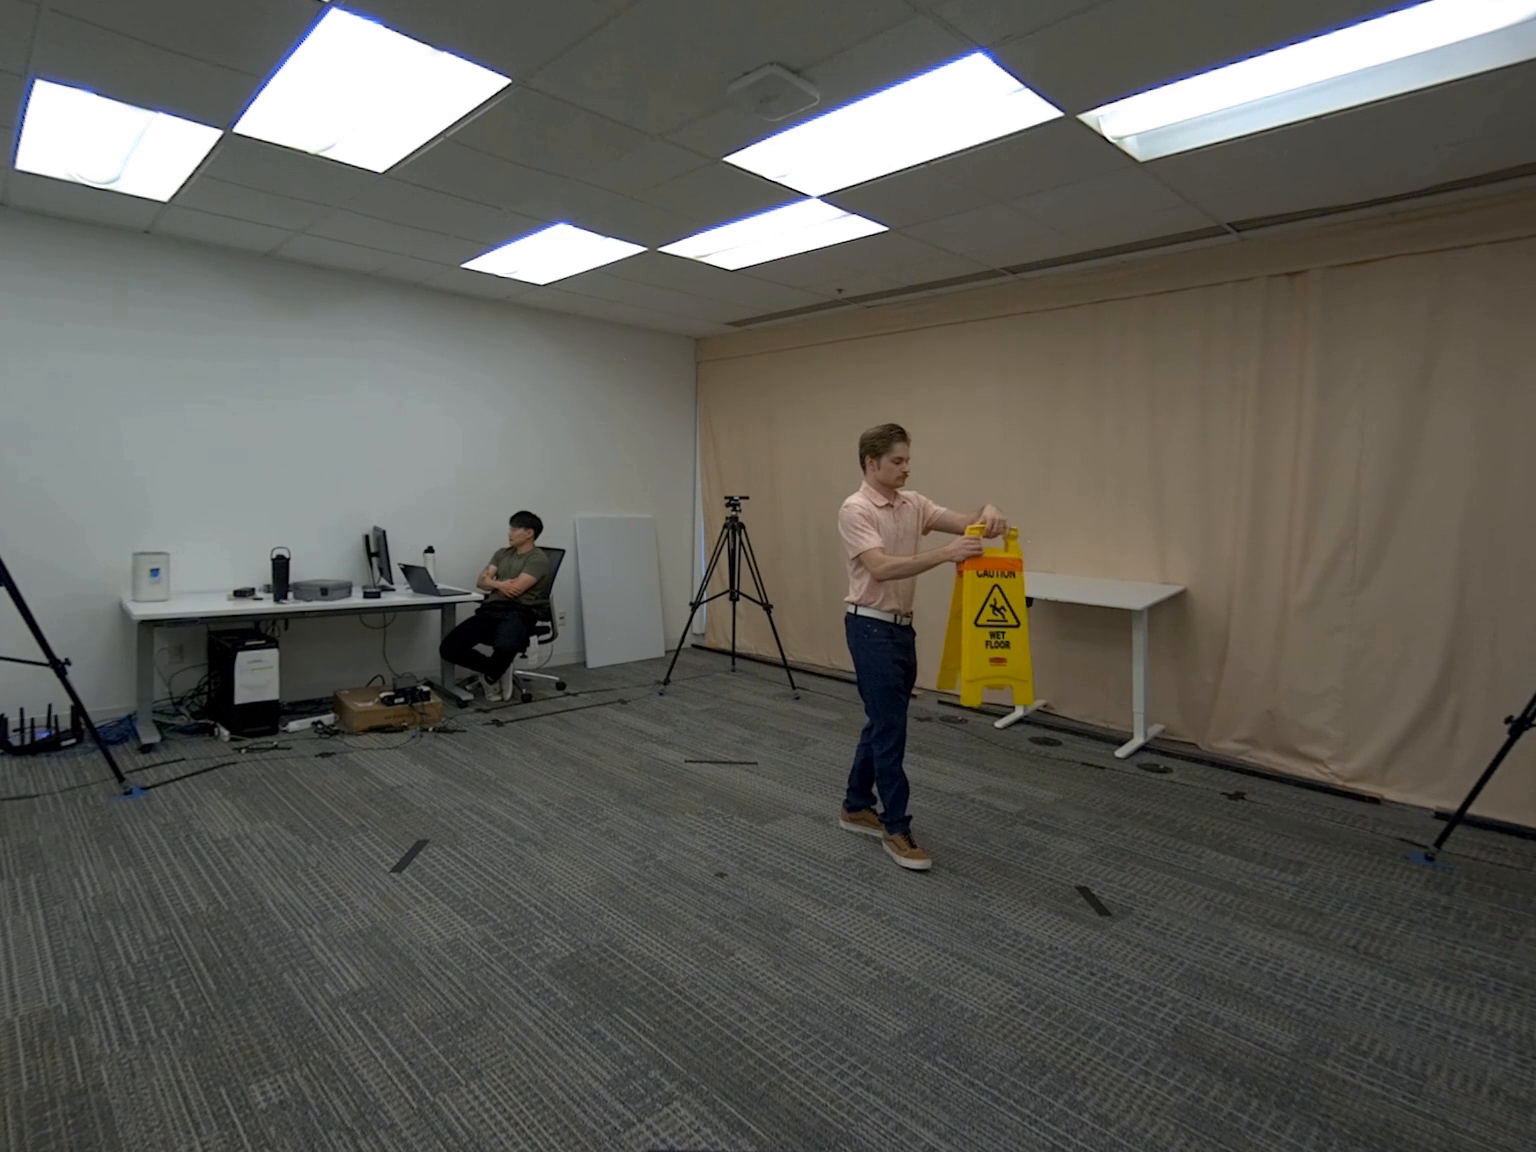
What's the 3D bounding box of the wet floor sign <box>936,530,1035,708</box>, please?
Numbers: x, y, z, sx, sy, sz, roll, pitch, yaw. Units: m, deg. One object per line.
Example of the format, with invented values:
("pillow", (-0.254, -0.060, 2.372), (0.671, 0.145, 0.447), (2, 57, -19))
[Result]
("wet floor sign", (0.796, 0.144, 3.146), (0.280, 0.643, 0.293), (-2, 6, -9))
